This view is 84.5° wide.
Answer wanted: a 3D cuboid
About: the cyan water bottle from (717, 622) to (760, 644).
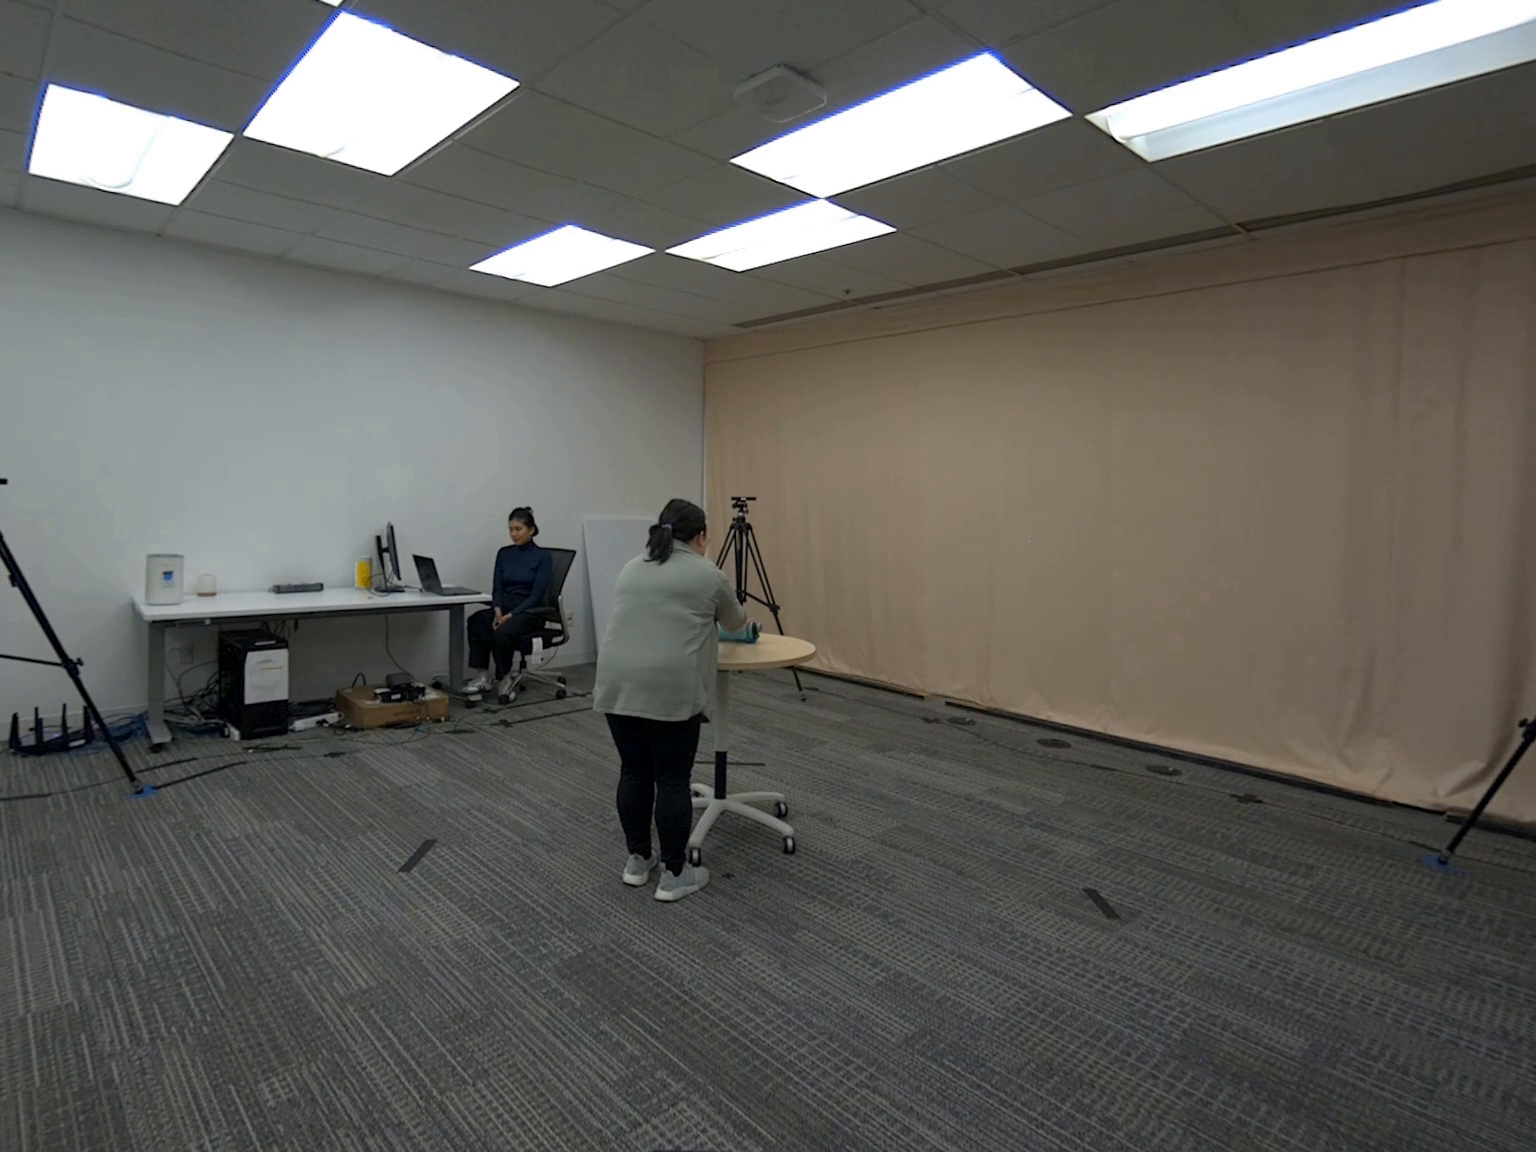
[{"bbox_3d":[-0.180,0.235,3.606,0.287,0.092,0.091,2,4,14],"label":"cyan water bottle"}]
